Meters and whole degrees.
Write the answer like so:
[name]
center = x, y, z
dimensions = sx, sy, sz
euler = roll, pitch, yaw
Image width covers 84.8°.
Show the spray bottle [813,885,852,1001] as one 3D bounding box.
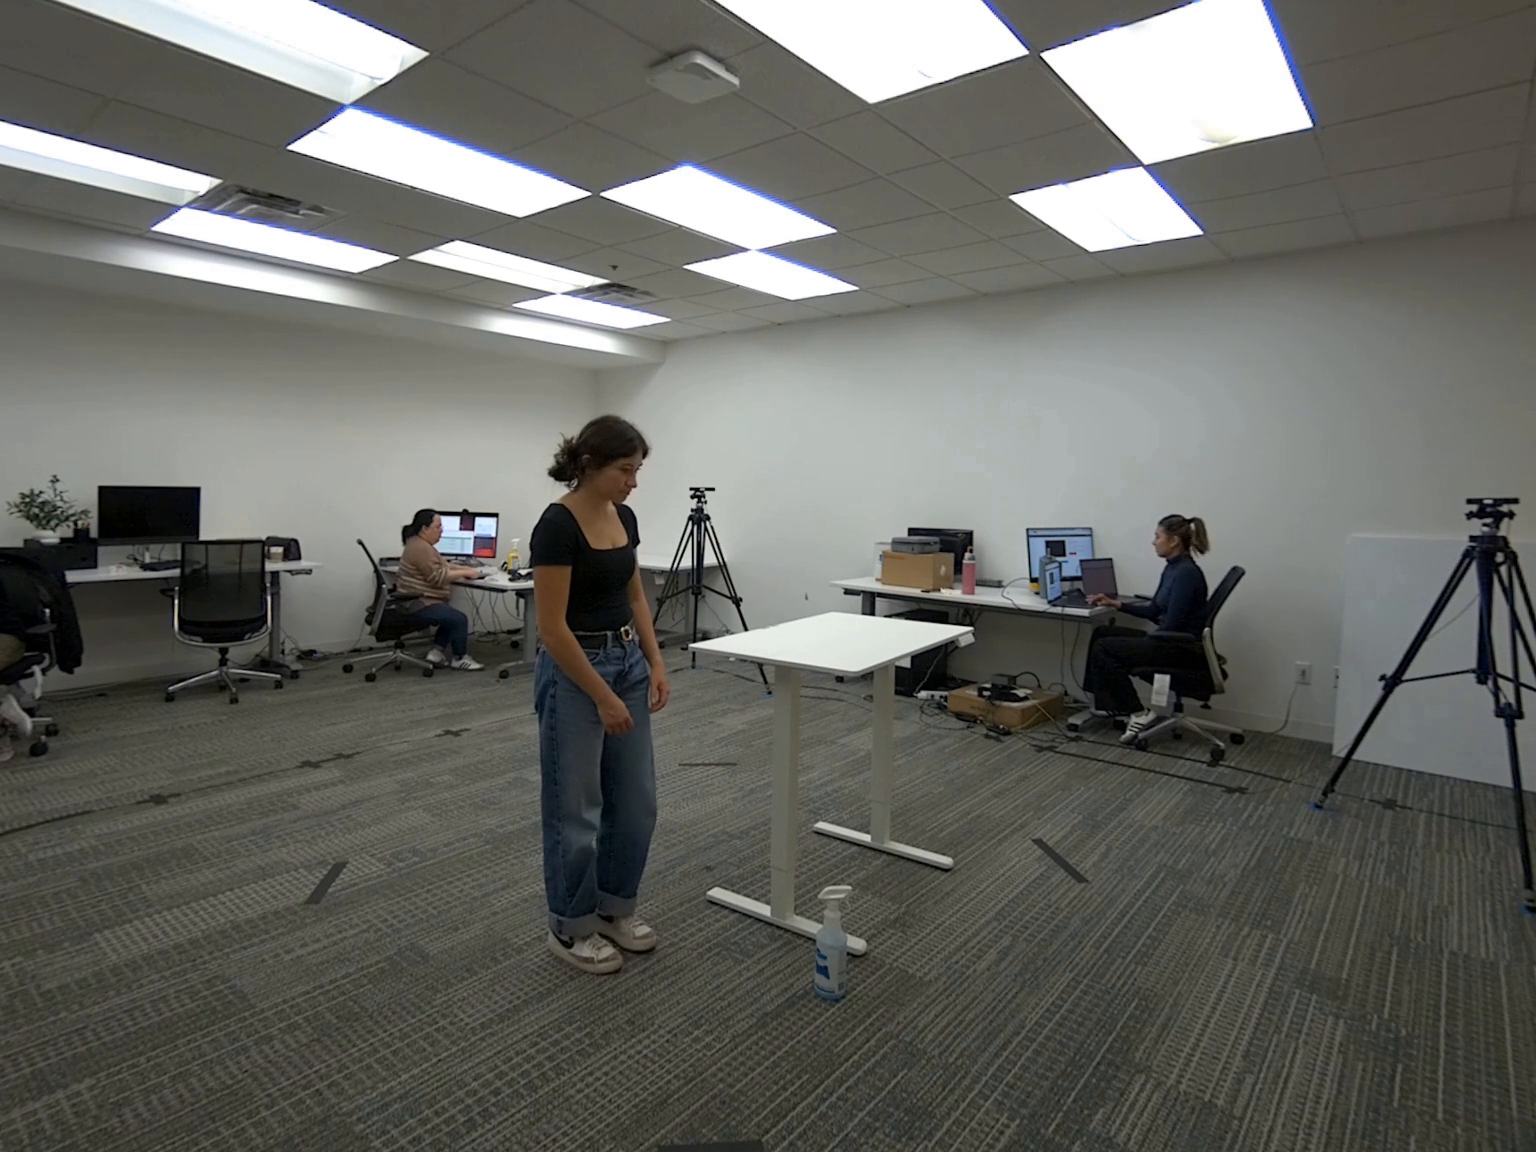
[spray bottle]
center = 0.171, 1.010, 2.347
dimensions = 0.092, 0.297, 0.085
euler = 3, 1, 18
